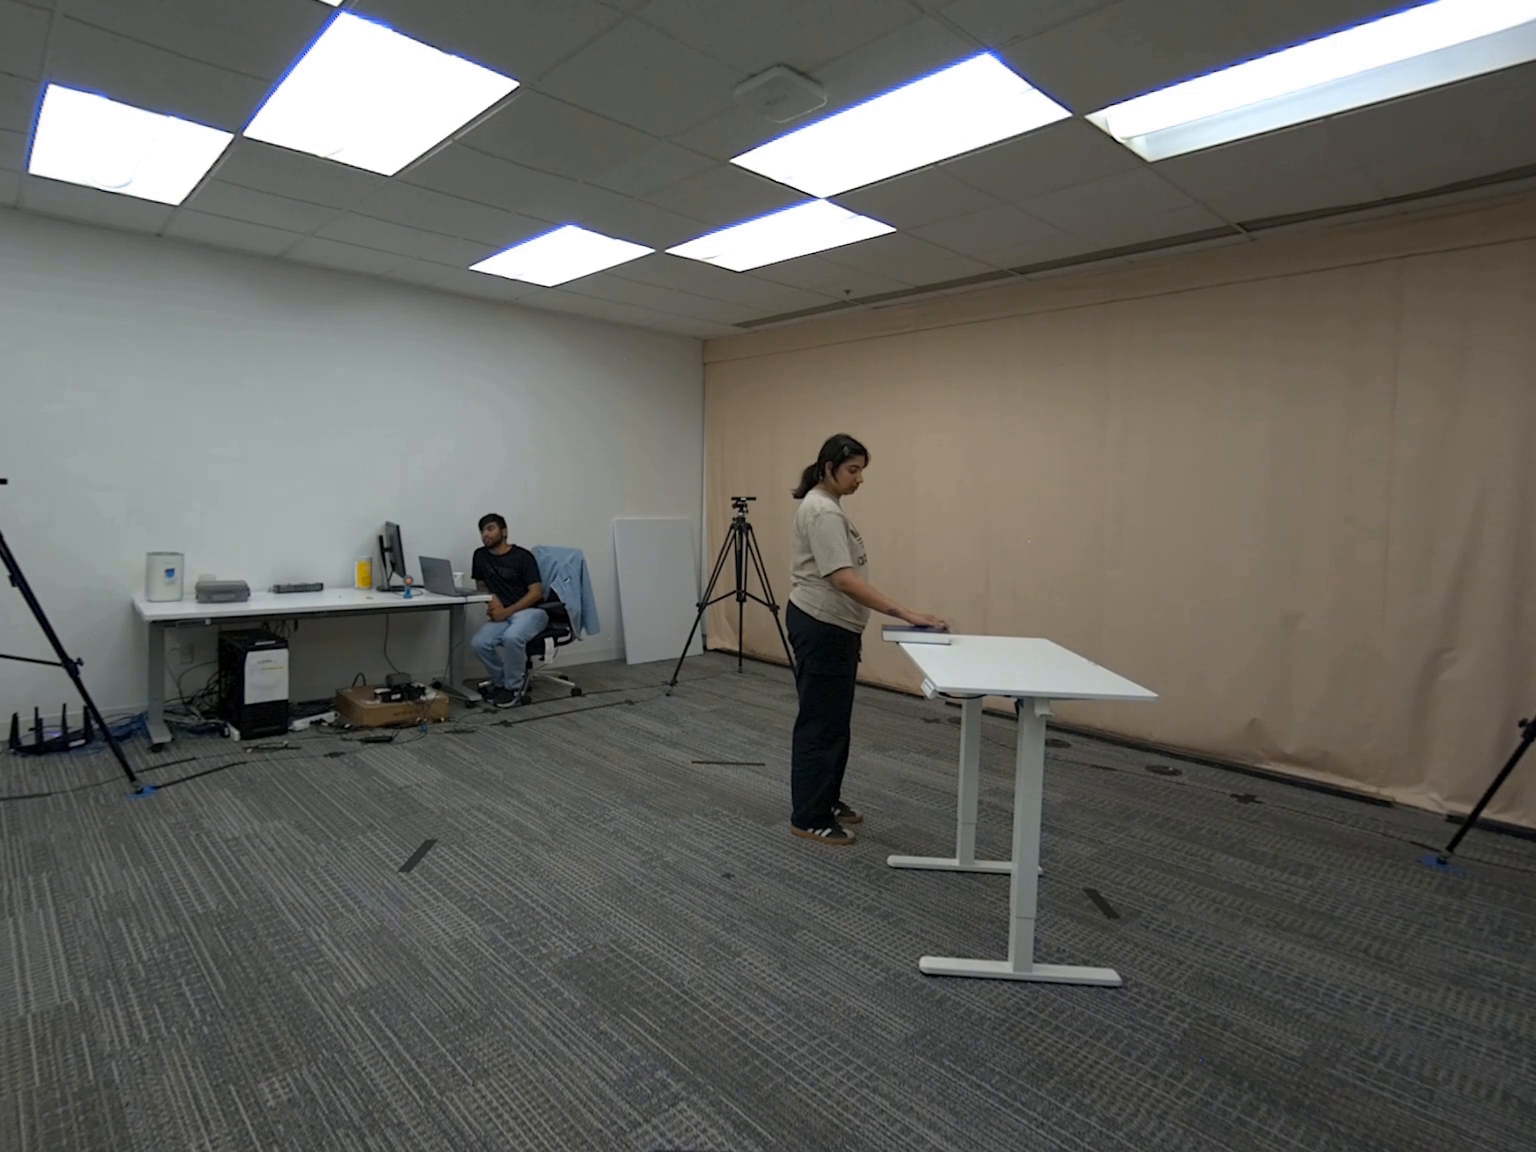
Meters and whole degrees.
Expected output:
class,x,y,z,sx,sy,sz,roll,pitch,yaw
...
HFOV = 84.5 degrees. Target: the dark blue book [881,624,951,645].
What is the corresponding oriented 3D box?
class,x,y,z,sx,sy,sz,roll,pitch,yaw
dark blue book,0.564,0.219,3.152,0.246,0.045,0.163,3,6,6
